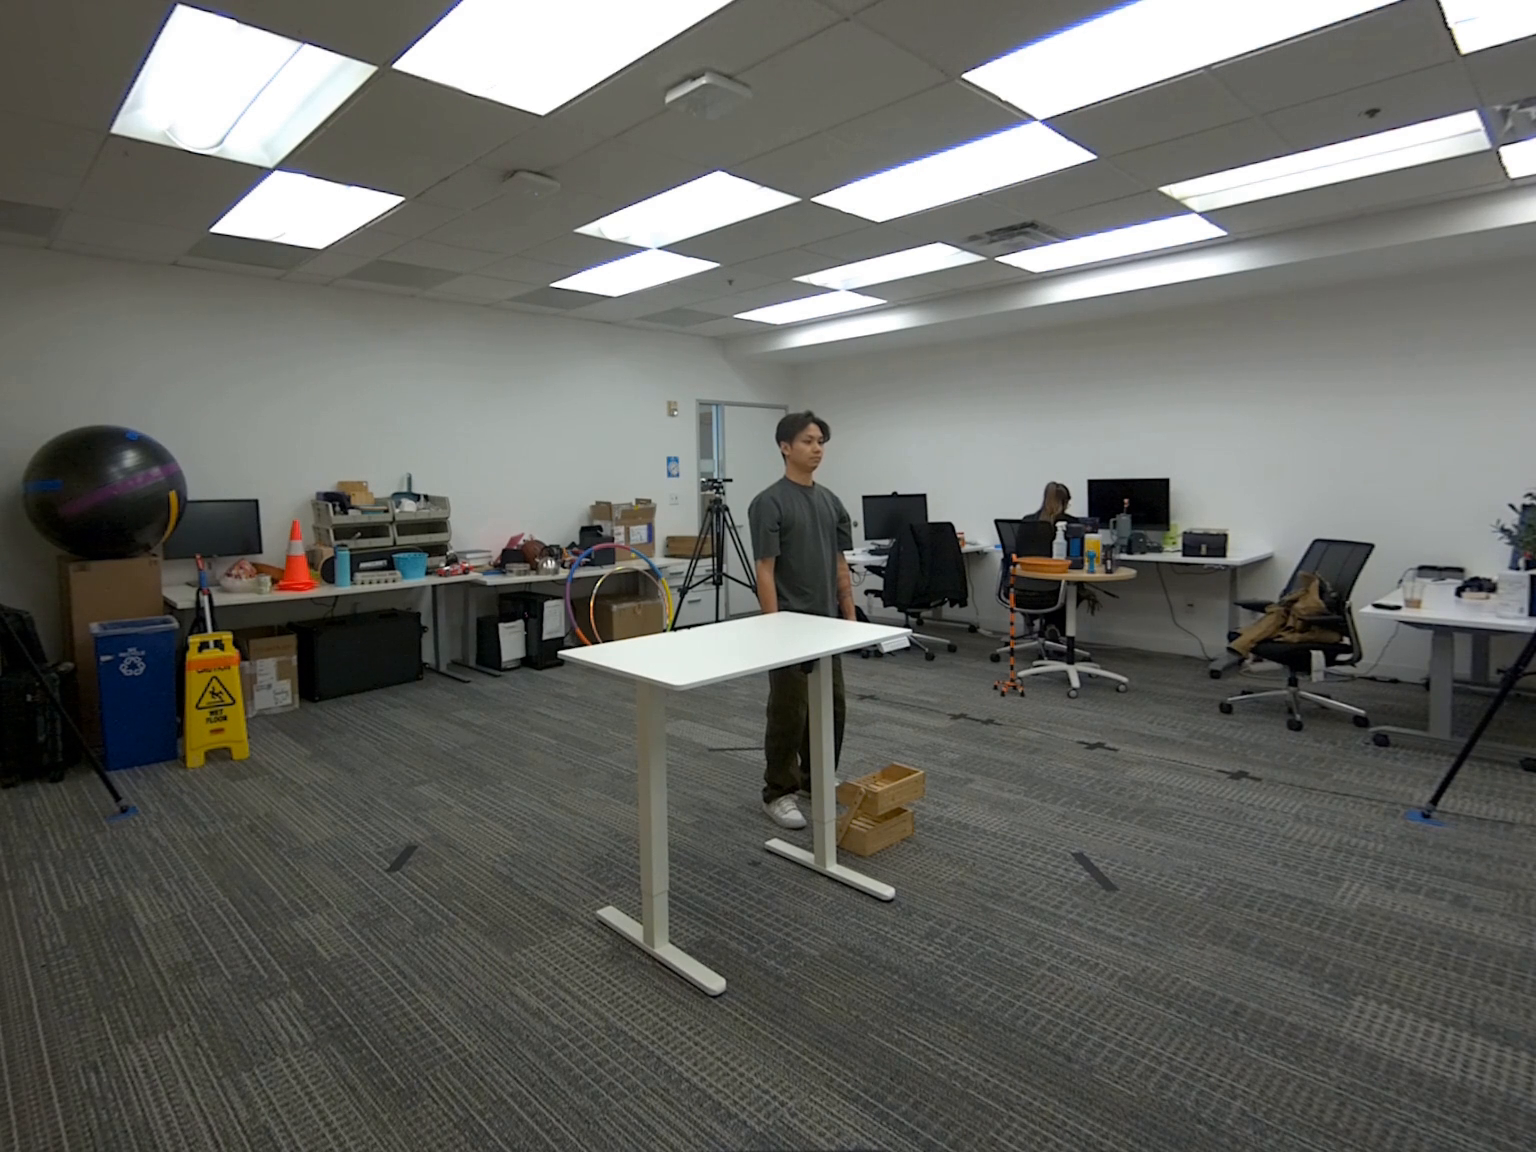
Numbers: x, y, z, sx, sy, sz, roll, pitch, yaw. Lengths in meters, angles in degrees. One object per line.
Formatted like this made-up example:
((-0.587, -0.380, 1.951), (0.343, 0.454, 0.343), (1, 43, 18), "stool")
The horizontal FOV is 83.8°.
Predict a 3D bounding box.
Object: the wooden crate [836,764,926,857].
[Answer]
((0.392, 0.878, 3.311), (0.316, 0.272, 0.311), (-5, 7, -43), "wooden crate")
